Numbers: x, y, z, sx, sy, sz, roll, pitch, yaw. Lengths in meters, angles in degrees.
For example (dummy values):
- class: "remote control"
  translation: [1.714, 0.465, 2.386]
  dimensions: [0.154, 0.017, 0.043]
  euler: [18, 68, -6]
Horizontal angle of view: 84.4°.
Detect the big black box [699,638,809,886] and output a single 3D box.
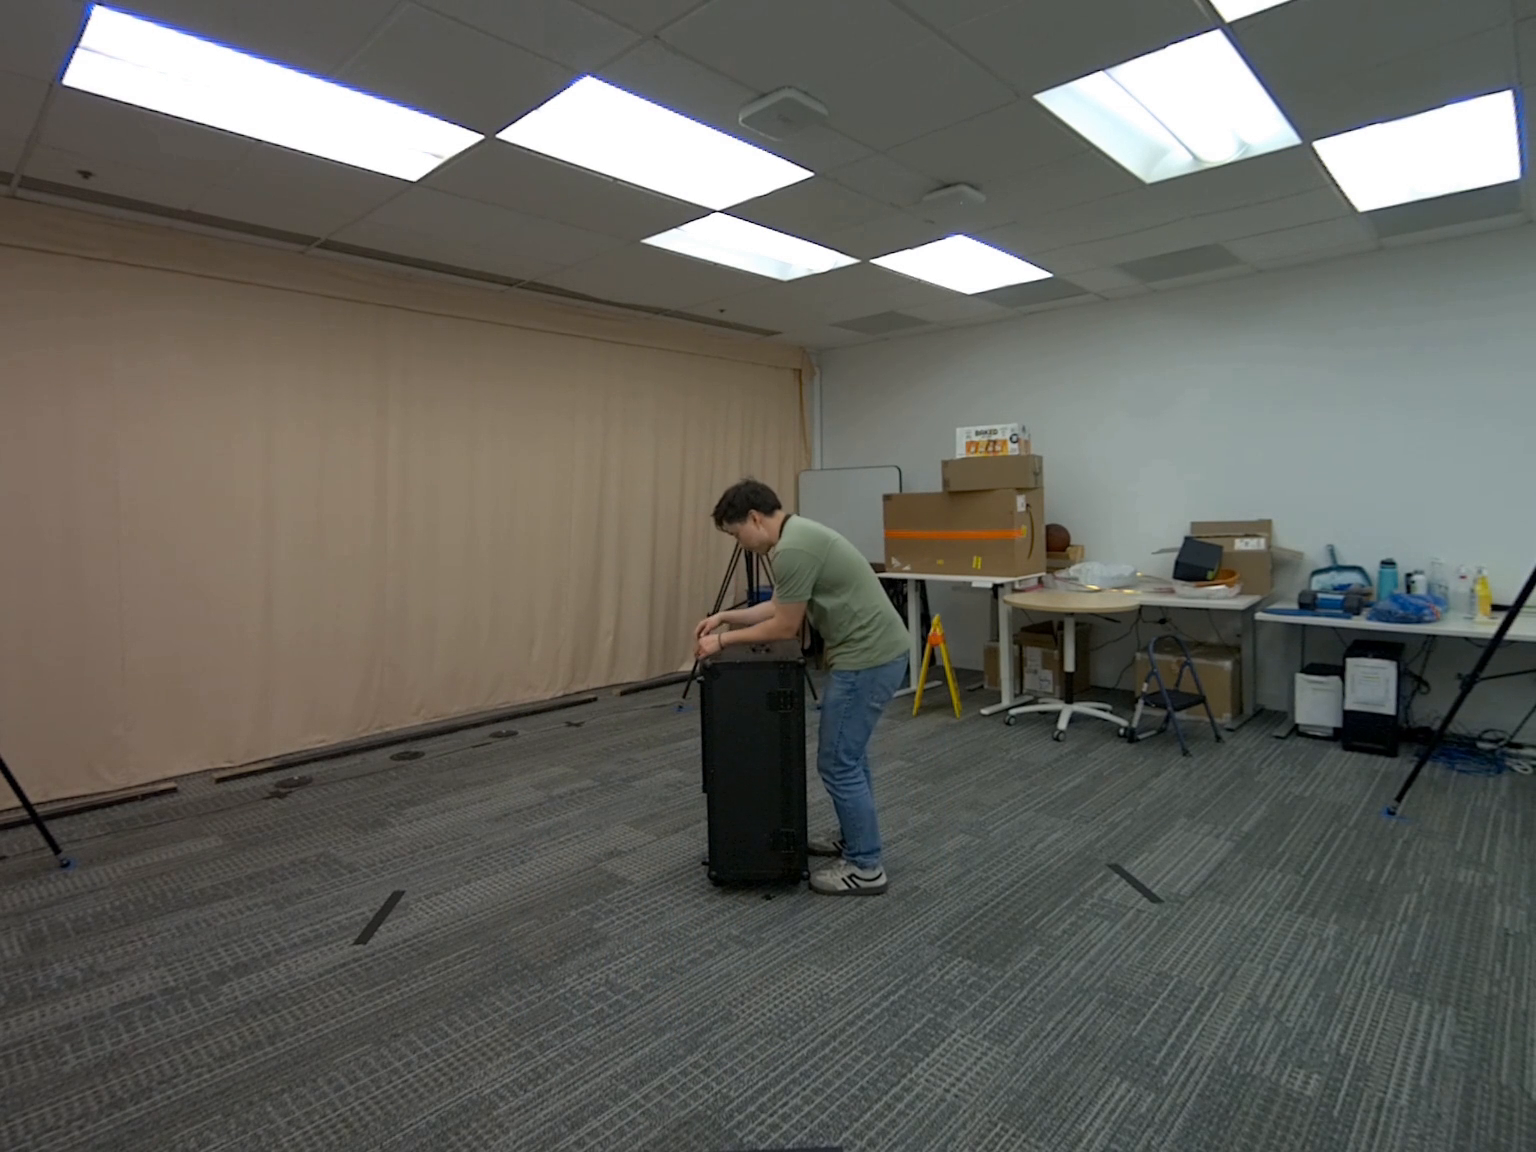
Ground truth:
- class: "big black box"
  translation: [-0.057, 0.703, 3.184]
  dimensions: [0.397, 0.859, 0.522]
  euler: [-1, 4, 0]
